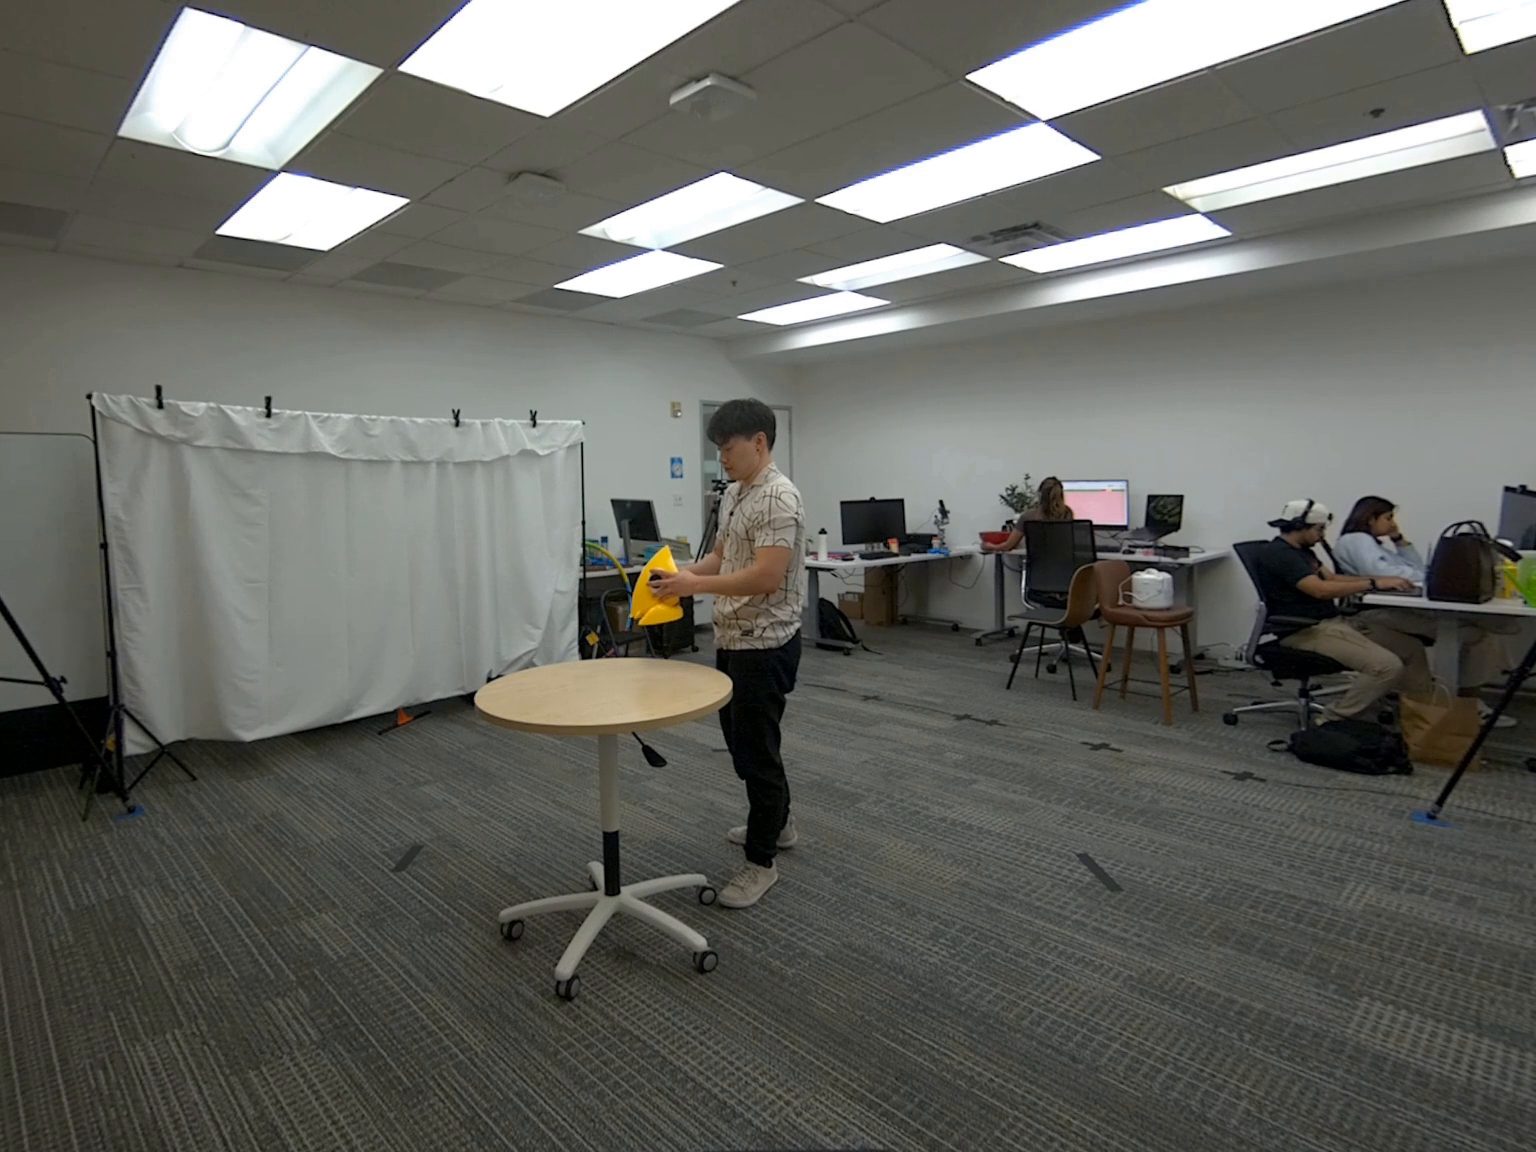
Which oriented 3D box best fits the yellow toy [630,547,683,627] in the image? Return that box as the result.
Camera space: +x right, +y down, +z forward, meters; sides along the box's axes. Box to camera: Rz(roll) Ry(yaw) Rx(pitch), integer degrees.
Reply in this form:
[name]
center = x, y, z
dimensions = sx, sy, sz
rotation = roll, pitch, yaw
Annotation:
[yellow toy]
center = -0.376, 0.021, 2.855
dimensions = 0.190, 0.229, 0.210
rotation = -10, 10, -23
